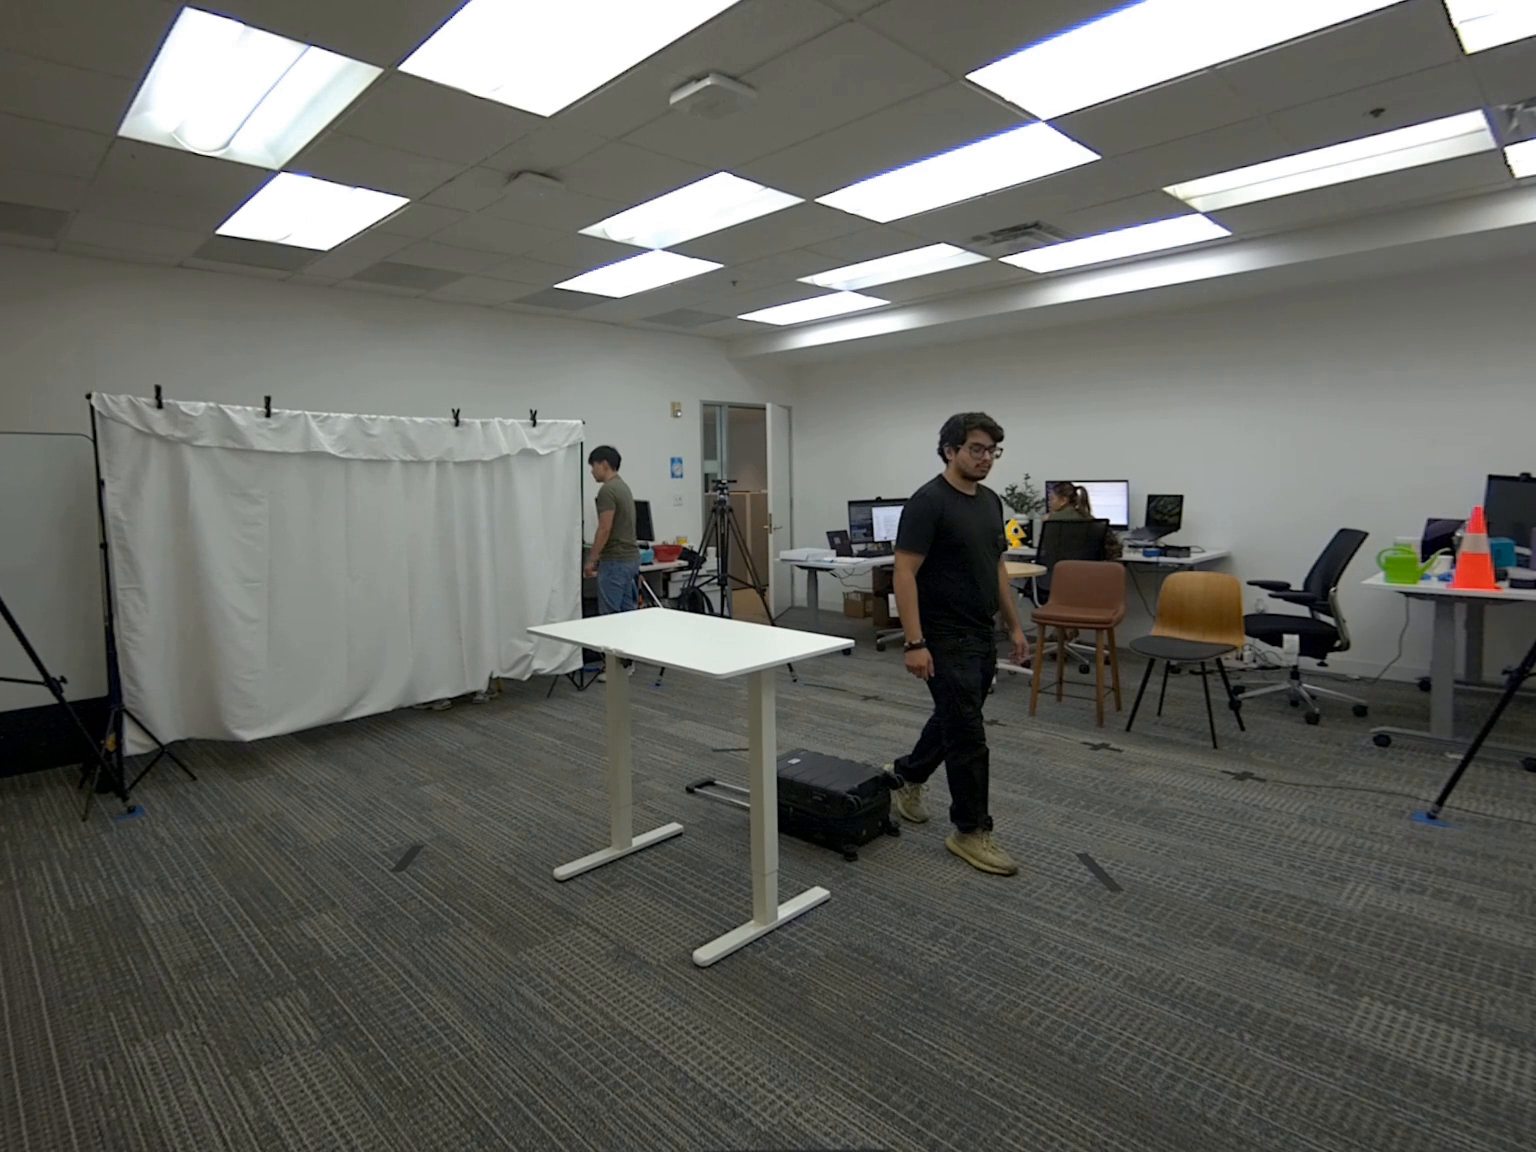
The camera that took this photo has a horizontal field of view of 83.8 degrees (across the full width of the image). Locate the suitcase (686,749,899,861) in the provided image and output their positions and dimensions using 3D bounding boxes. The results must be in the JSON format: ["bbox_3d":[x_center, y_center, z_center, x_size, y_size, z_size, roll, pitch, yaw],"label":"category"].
[{"bbox_3d":[0.061,0.872,3.562,1.009,0.255,0.374,6,10,41],"label":"suitcase"}]
